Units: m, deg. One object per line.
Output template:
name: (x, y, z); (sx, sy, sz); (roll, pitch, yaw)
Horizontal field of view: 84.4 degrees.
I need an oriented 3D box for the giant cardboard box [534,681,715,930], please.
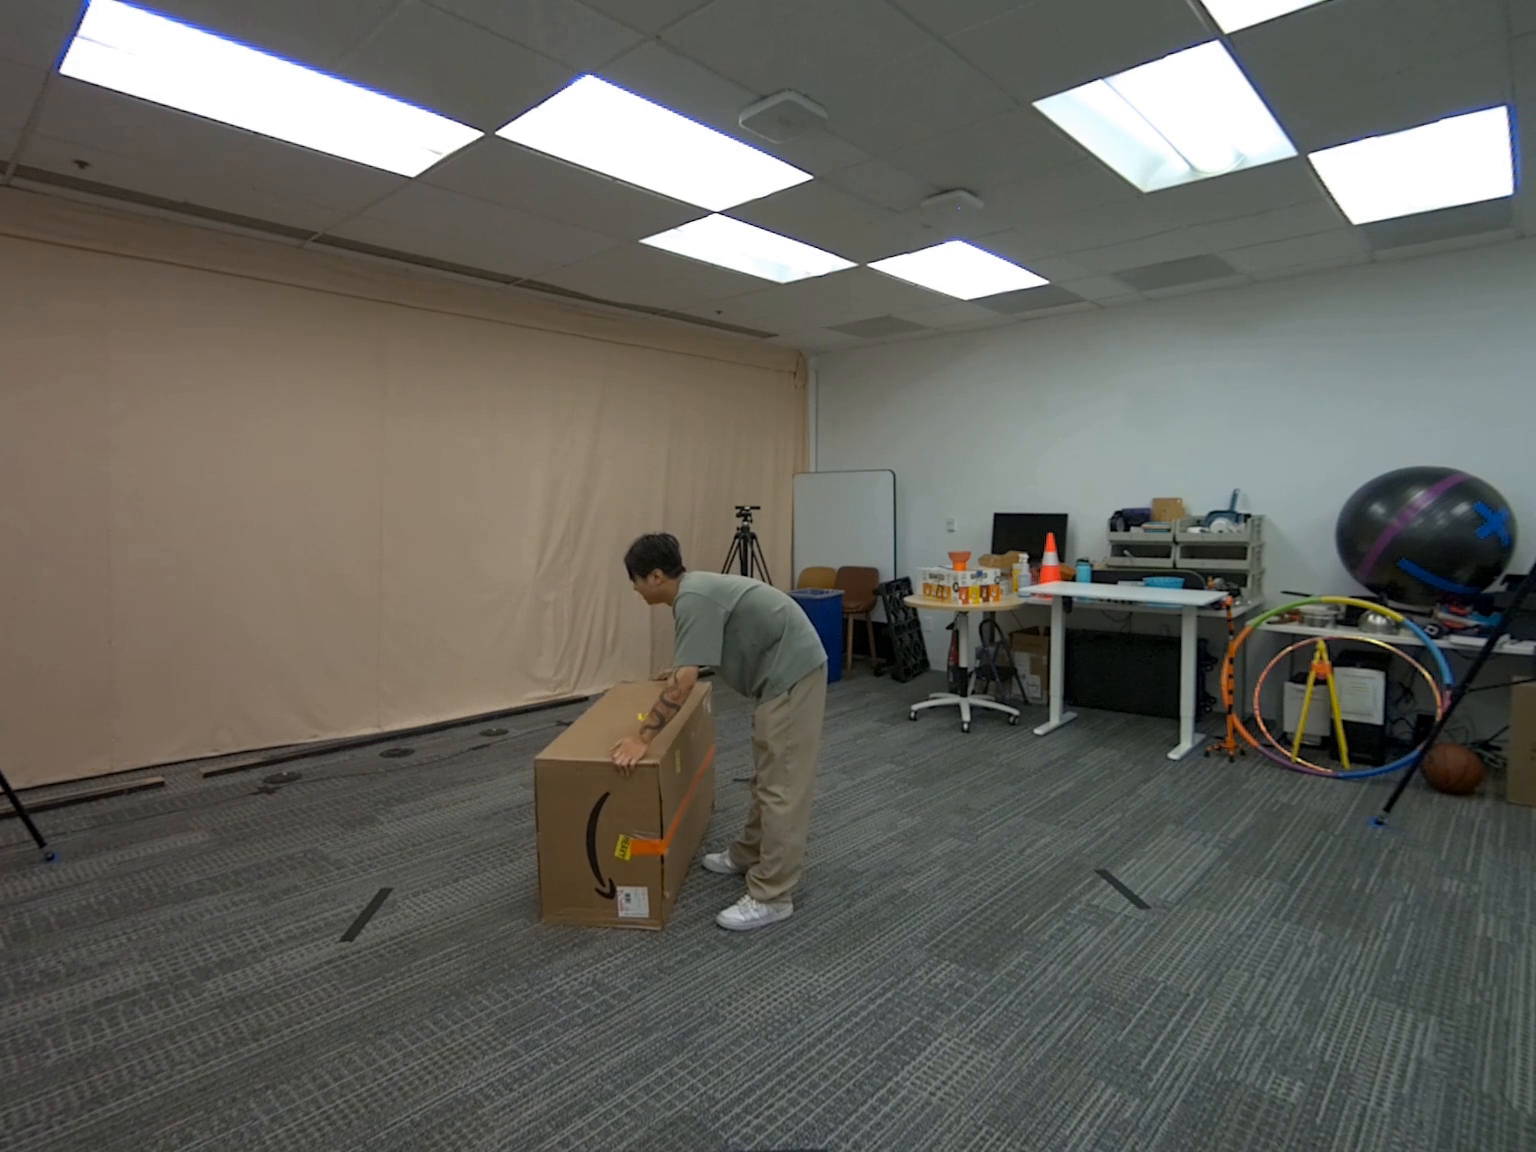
giant cardboard box: (-0.509, 0.802, 3.266); (0.430, 0.575, 1.022); (0, 7, 6)
